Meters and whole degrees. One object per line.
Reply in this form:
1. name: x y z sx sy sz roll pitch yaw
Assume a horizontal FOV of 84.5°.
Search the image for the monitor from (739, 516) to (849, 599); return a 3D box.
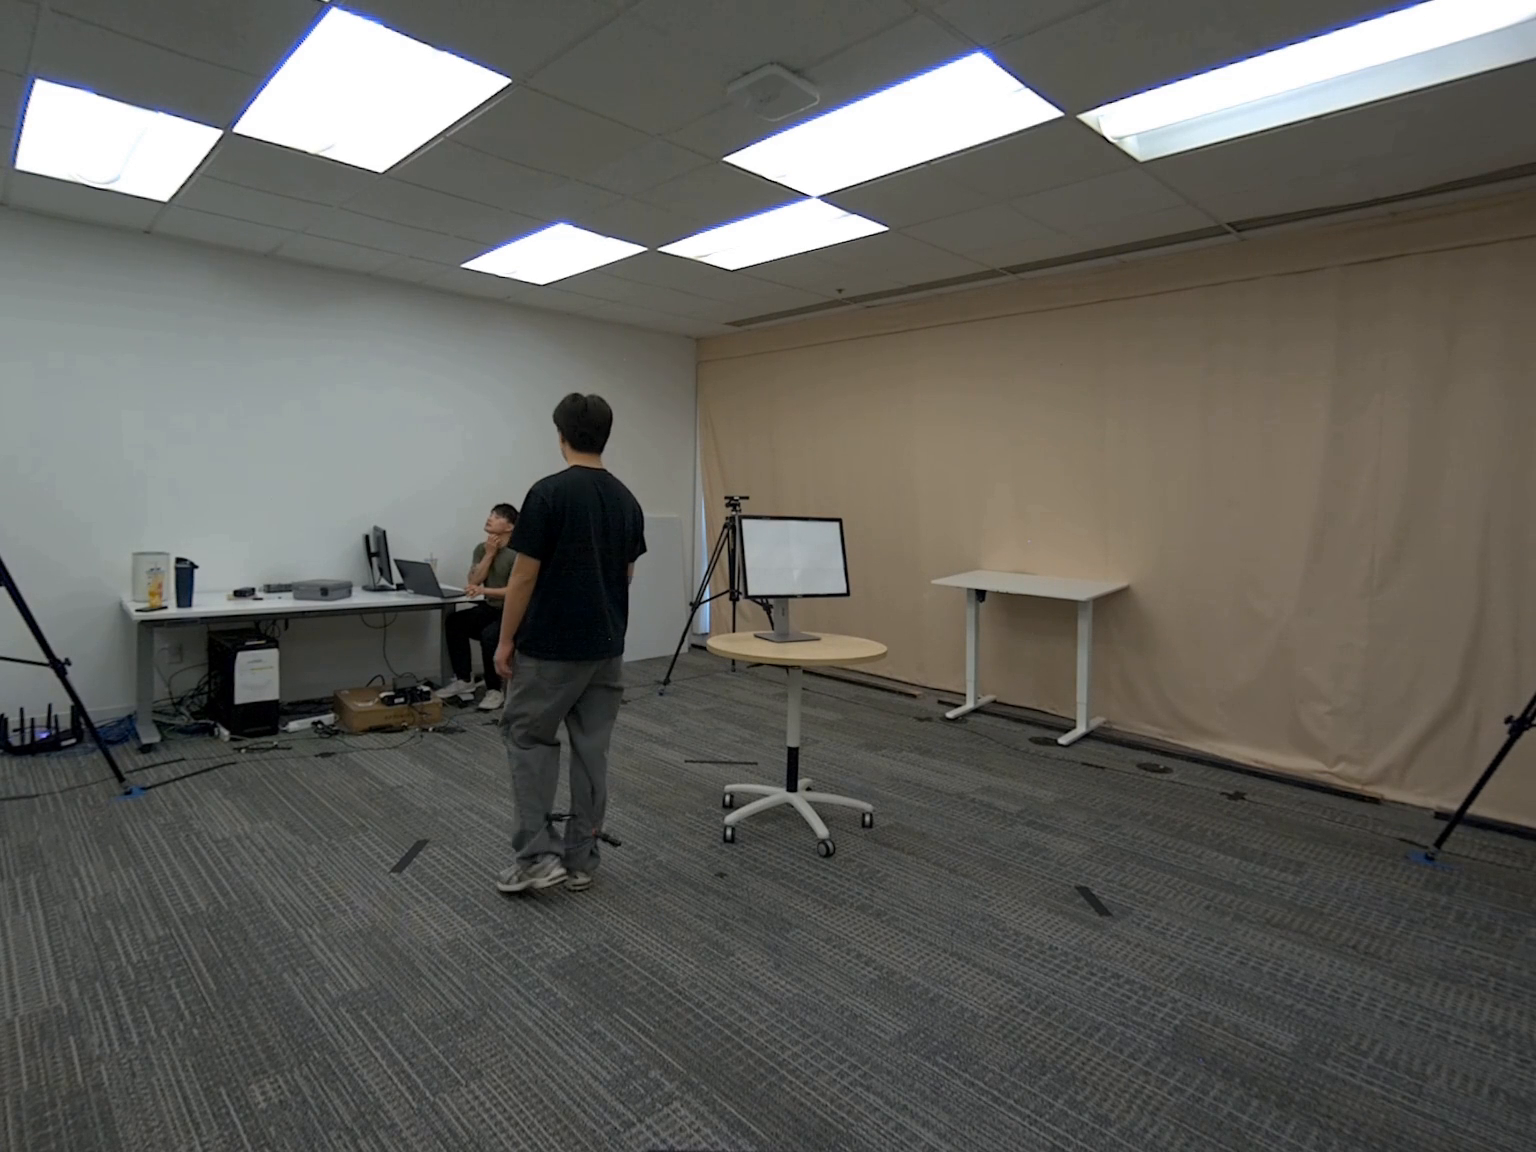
1. monitor: 0.085 0.018 3.738 0.550 0.564 0.227 0 5 -29
